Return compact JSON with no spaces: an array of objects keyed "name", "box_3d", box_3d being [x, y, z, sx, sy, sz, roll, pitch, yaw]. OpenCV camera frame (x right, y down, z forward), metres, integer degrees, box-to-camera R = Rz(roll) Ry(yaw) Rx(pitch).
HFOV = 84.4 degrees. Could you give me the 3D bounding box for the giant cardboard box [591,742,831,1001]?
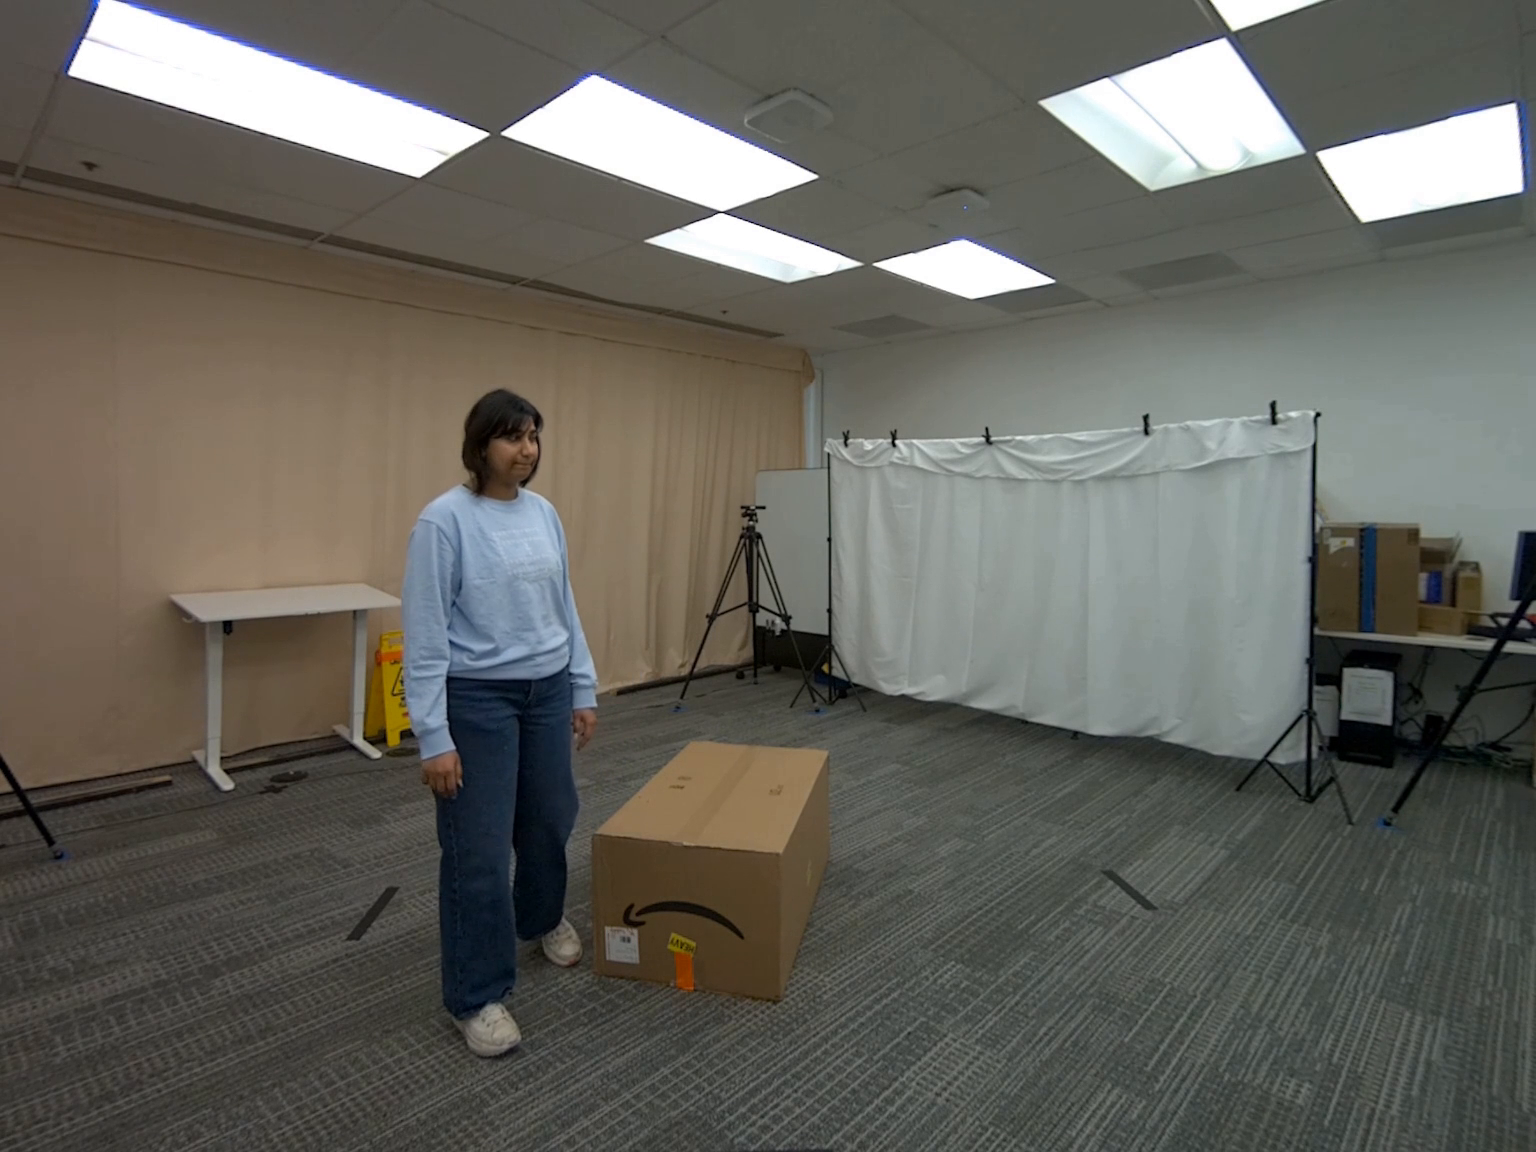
[{"name":"giant cardboard box","box_3d":[-0.133,0.934,2.911,0.586,0.425,1.013,1,5,13]}]
